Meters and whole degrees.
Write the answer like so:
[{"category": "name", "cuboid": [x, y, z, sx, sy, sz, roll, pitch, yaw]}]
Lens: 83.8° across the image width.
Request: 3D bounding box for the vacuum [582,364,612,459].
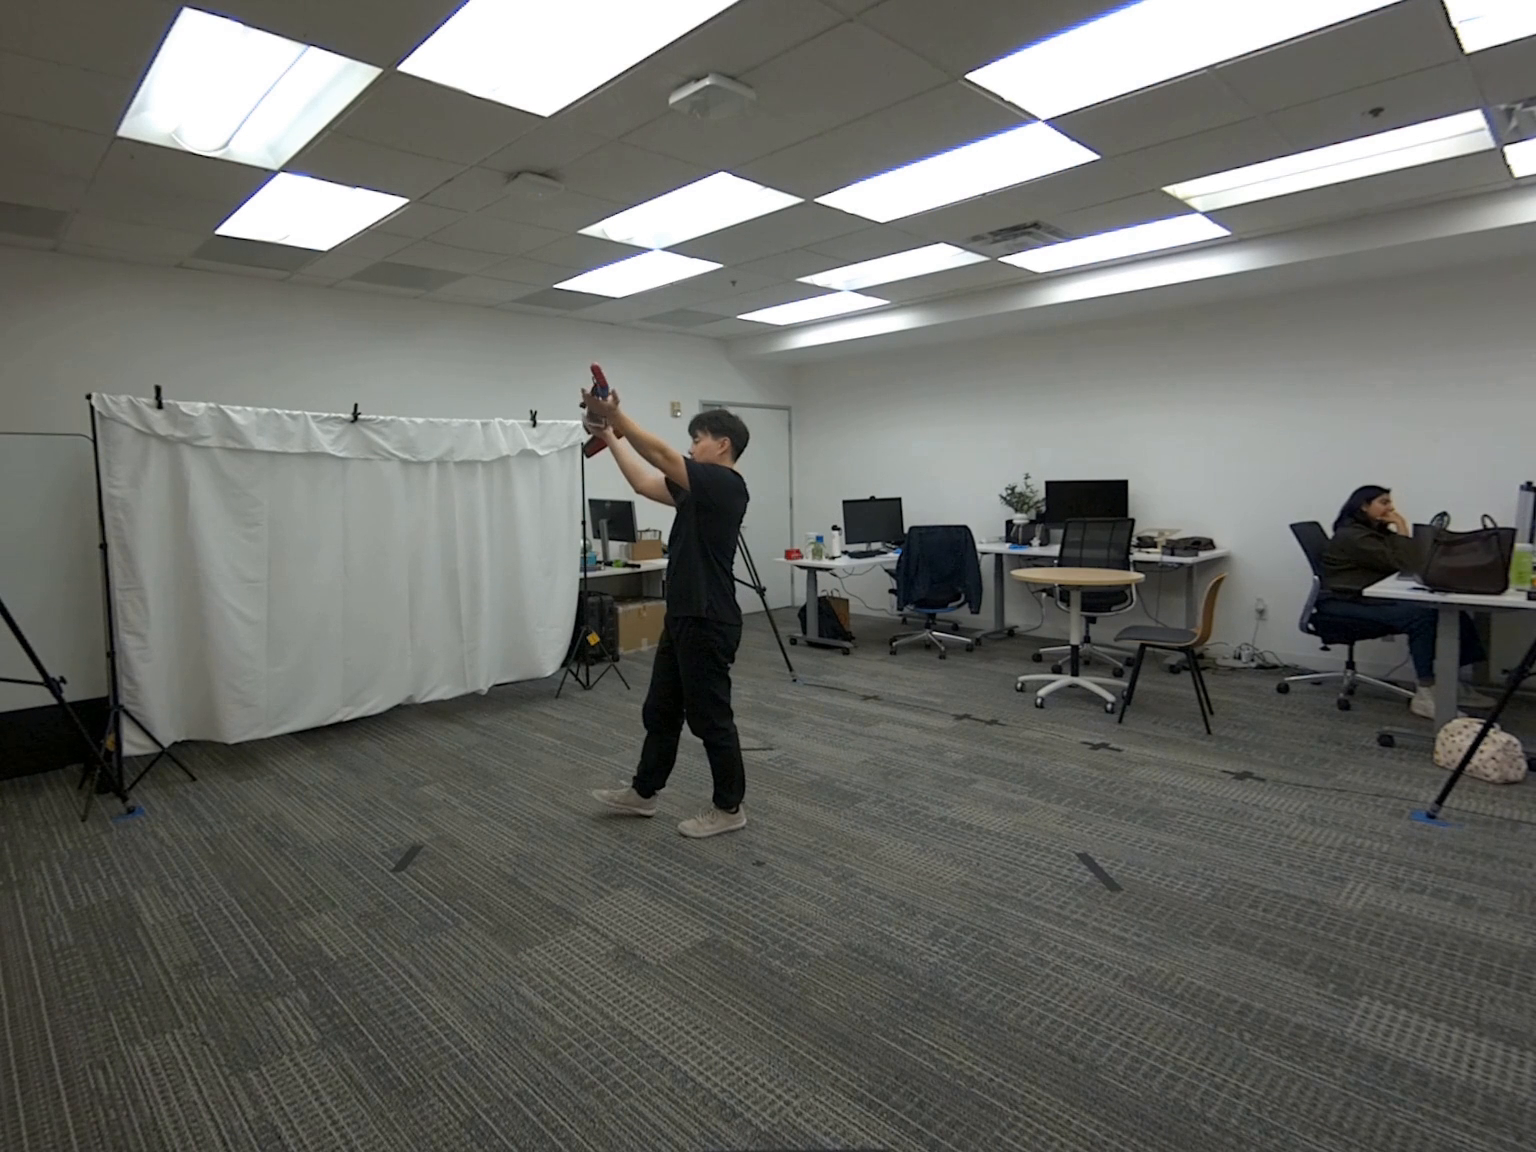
[{"category": "vacuum", "cuboid": [-0.638, -0.647, 3.206, 0.252, 0.144, 1.051, -35, 2, -8]}]
